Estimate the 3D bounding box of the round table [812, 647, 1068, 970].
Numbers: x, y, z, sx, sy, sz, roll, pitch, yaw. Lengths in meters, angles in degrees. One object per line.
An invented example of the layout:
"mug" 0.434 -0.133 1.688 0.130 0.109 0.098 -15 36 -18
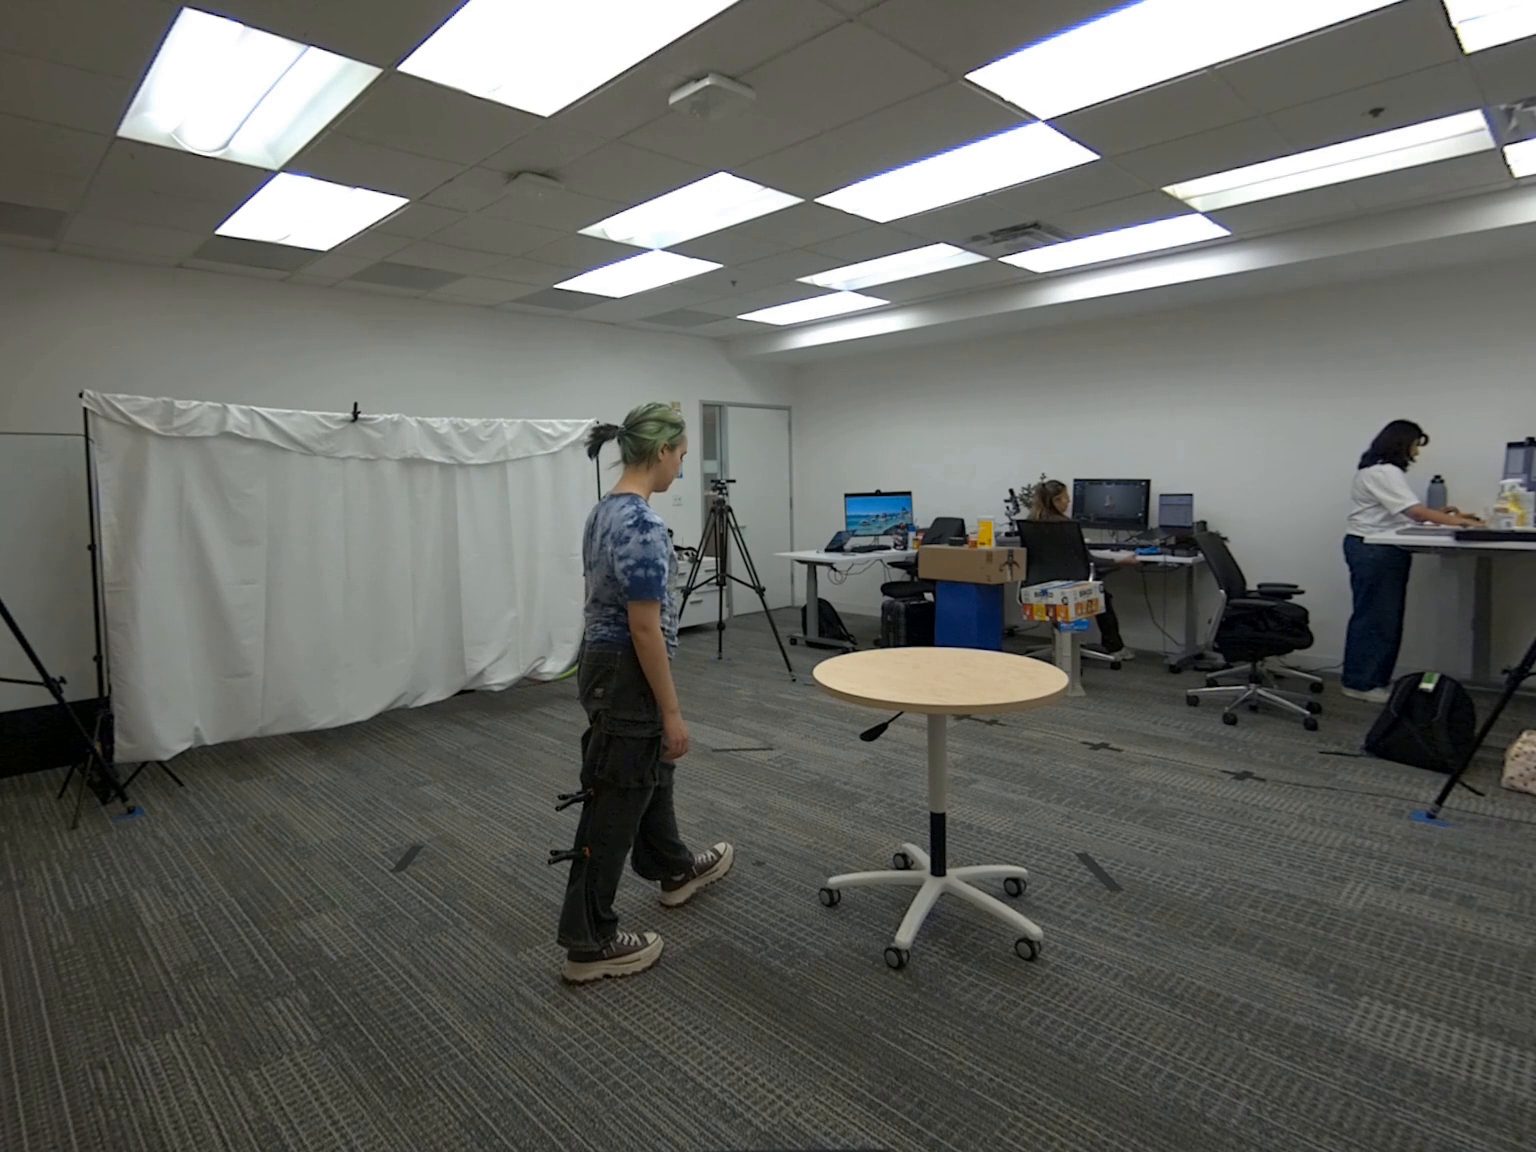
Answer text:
"round table" 0.542 0.698 2.684 0.763 0.790 0.768 -1 5 -2
